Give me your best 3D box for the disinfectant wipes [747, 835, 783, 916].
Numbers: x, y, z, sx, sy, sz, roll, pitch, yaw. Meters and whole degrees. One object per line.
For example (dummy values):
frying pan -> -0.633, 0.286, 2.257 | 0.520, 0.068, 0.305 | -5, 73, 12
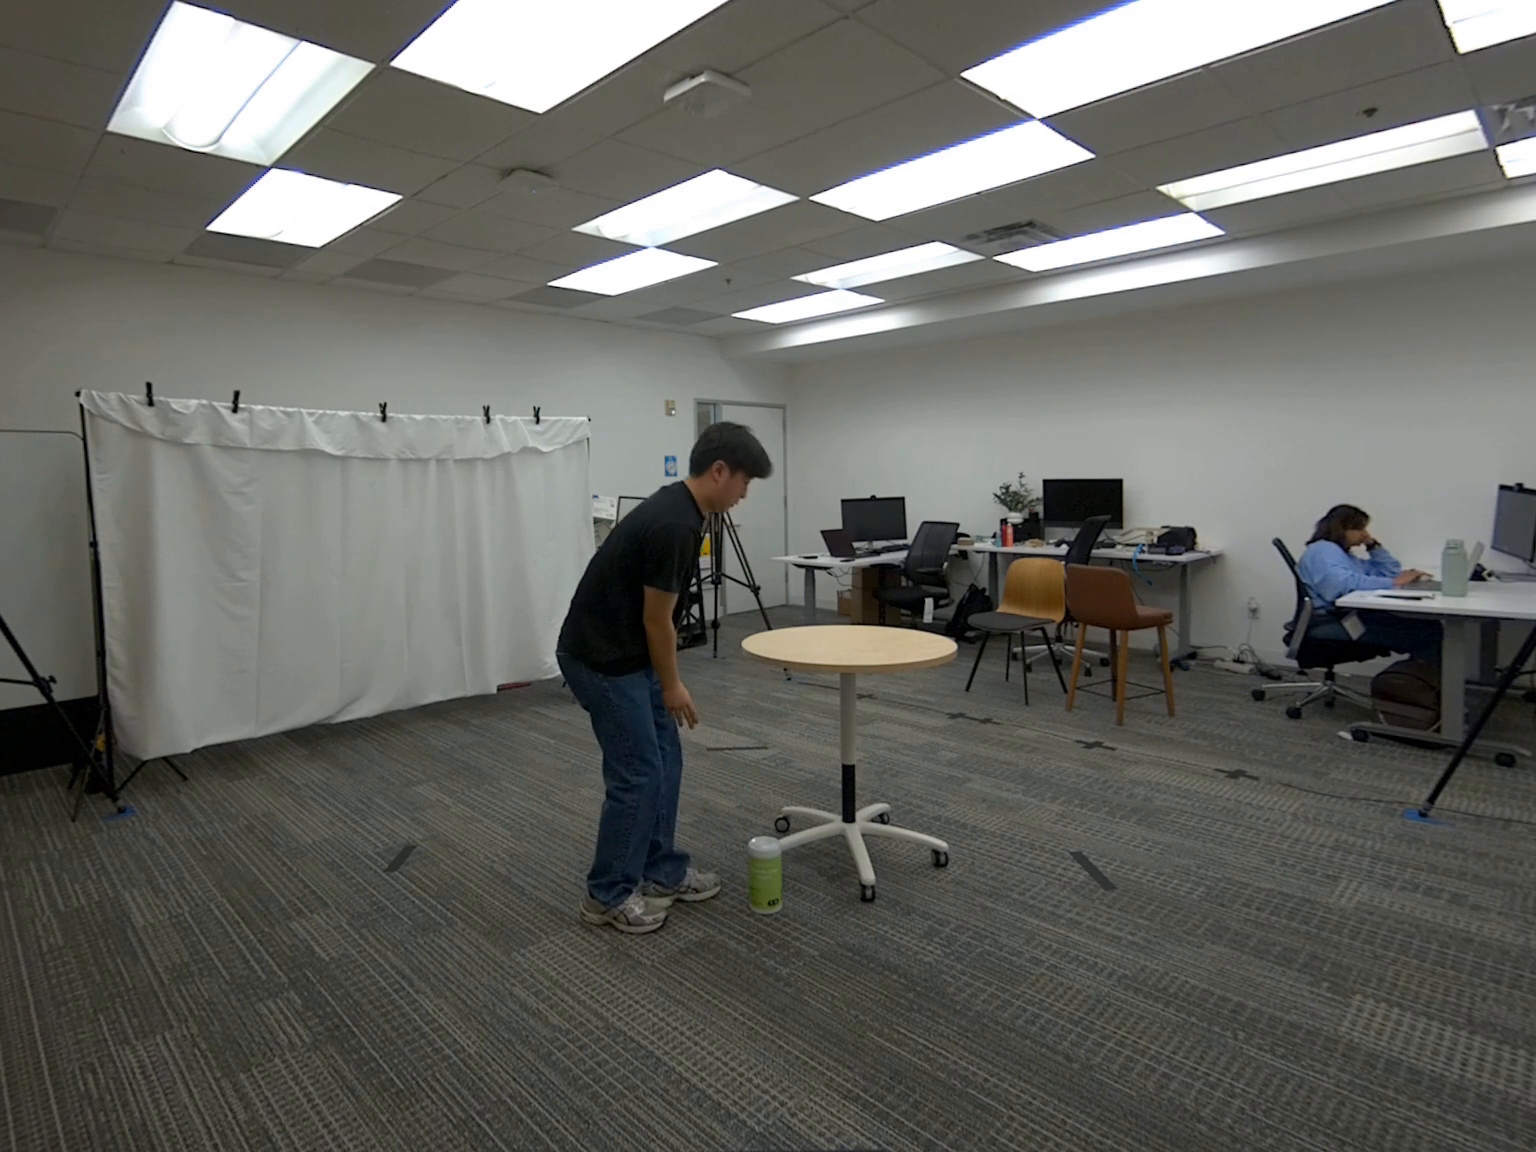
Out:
disinfectant wipes -> -0.014, 0.974, 2.767 | 0.118, 0.216, 0.118 | 0, 6, -2
